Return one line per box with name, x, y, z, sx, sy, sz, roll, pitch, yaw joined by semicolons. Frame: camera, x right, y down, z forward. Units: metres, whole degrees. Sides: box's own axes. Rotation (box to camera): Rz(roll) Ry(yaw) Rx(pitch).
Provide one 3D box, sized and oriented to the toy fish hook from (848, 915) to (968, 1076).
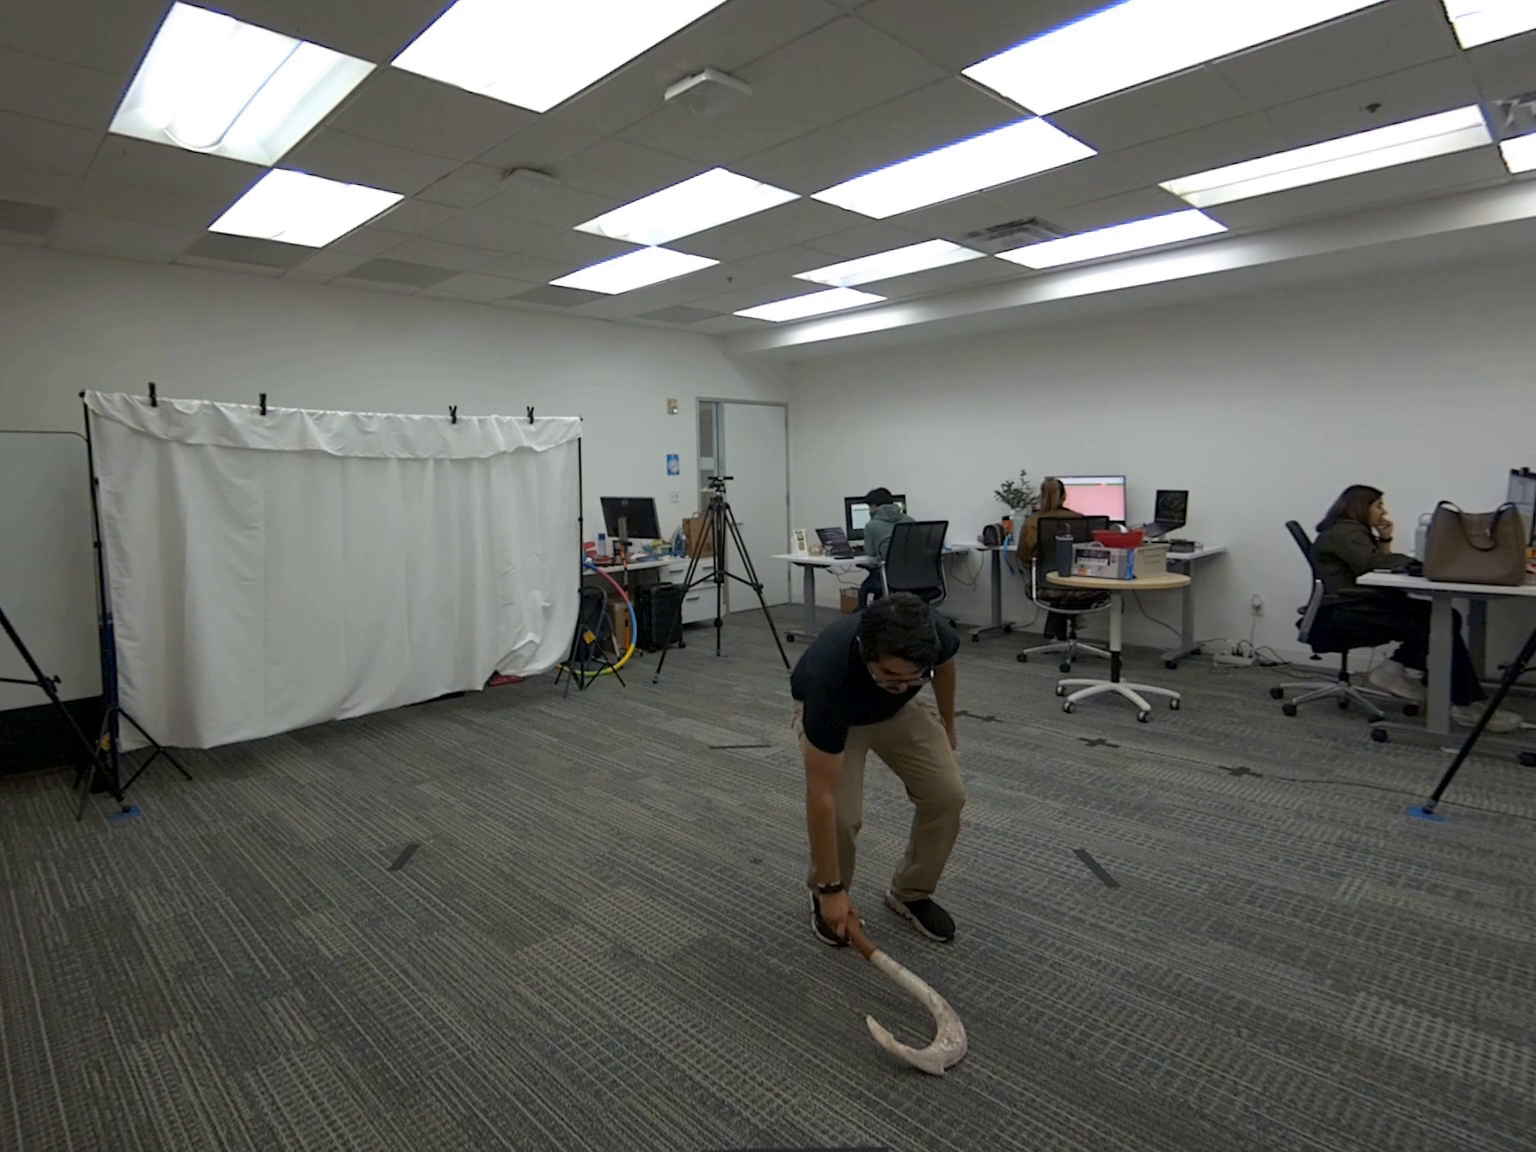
toy fish hook;0.279;1.031;2.173;0.219;0.047;0.527;-9;32;-40
